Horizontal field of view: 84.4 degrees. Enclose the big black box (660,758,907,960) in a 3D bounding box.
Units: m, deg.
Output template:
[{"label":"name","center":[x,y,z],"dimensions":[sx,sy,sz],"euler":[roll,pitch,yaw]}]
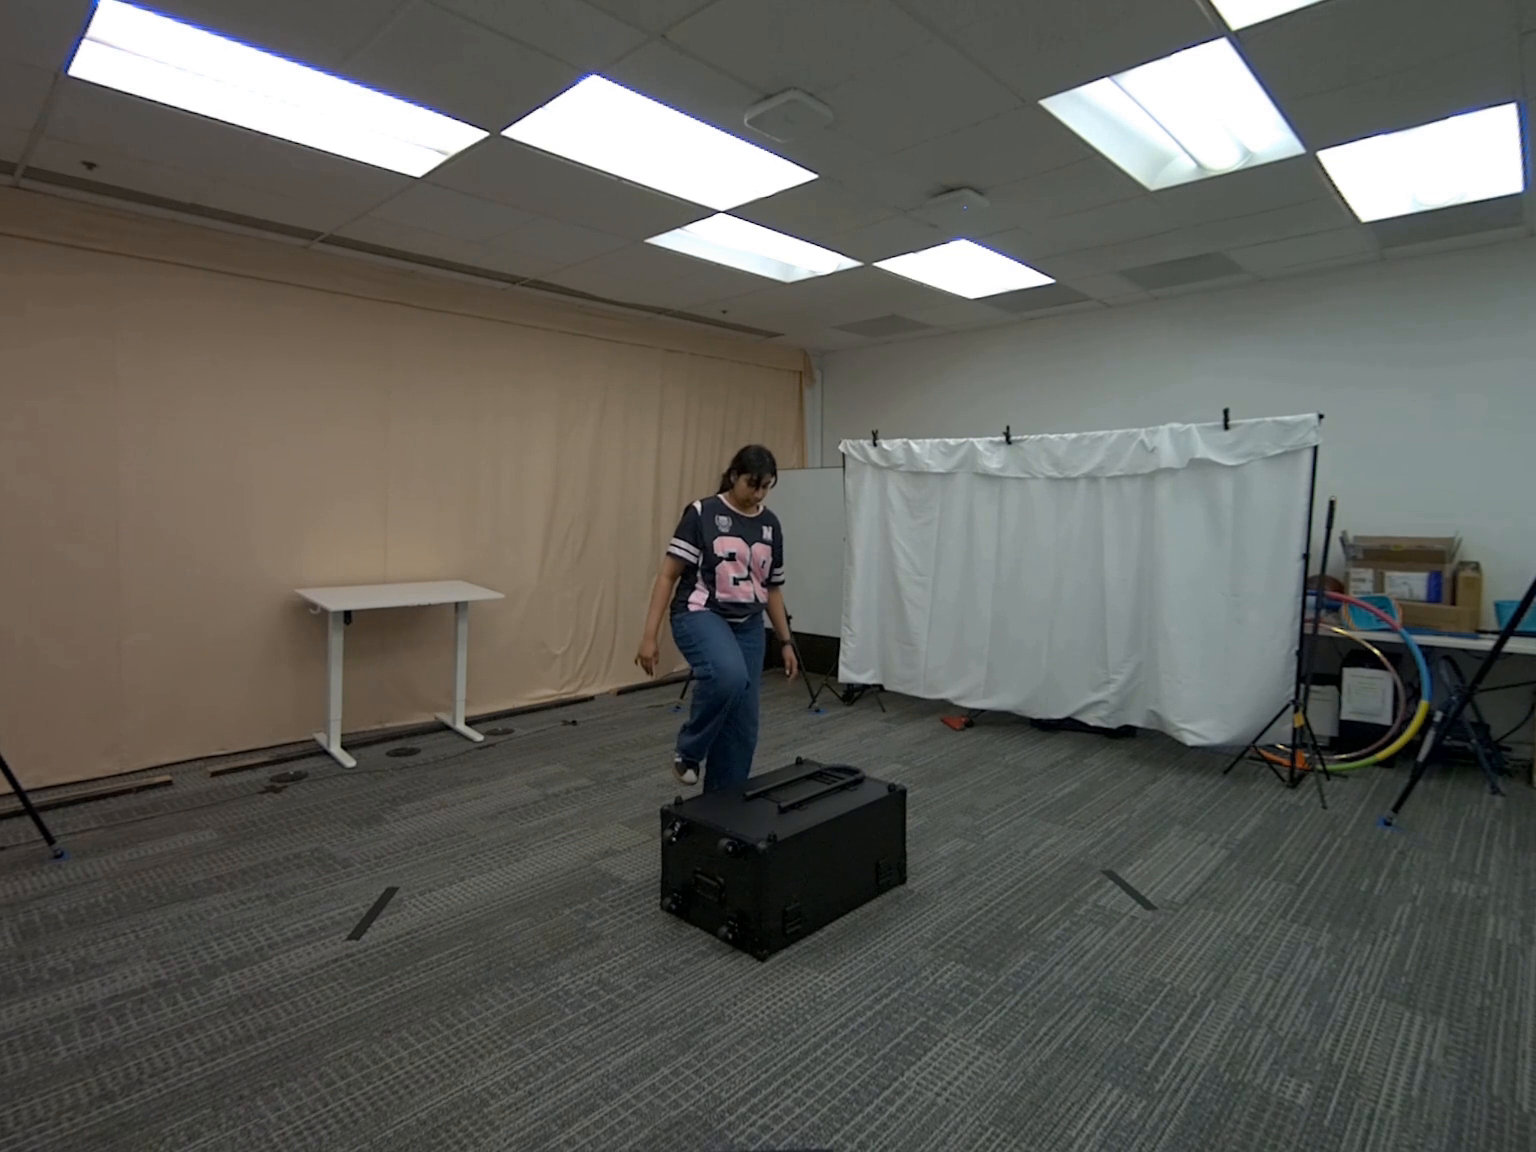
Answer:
[{"label":"big black box","center":[0.057,0.962,2.964],"dimensions":[0.541,0.384,0.842],"euler":[5,7,44]}]
